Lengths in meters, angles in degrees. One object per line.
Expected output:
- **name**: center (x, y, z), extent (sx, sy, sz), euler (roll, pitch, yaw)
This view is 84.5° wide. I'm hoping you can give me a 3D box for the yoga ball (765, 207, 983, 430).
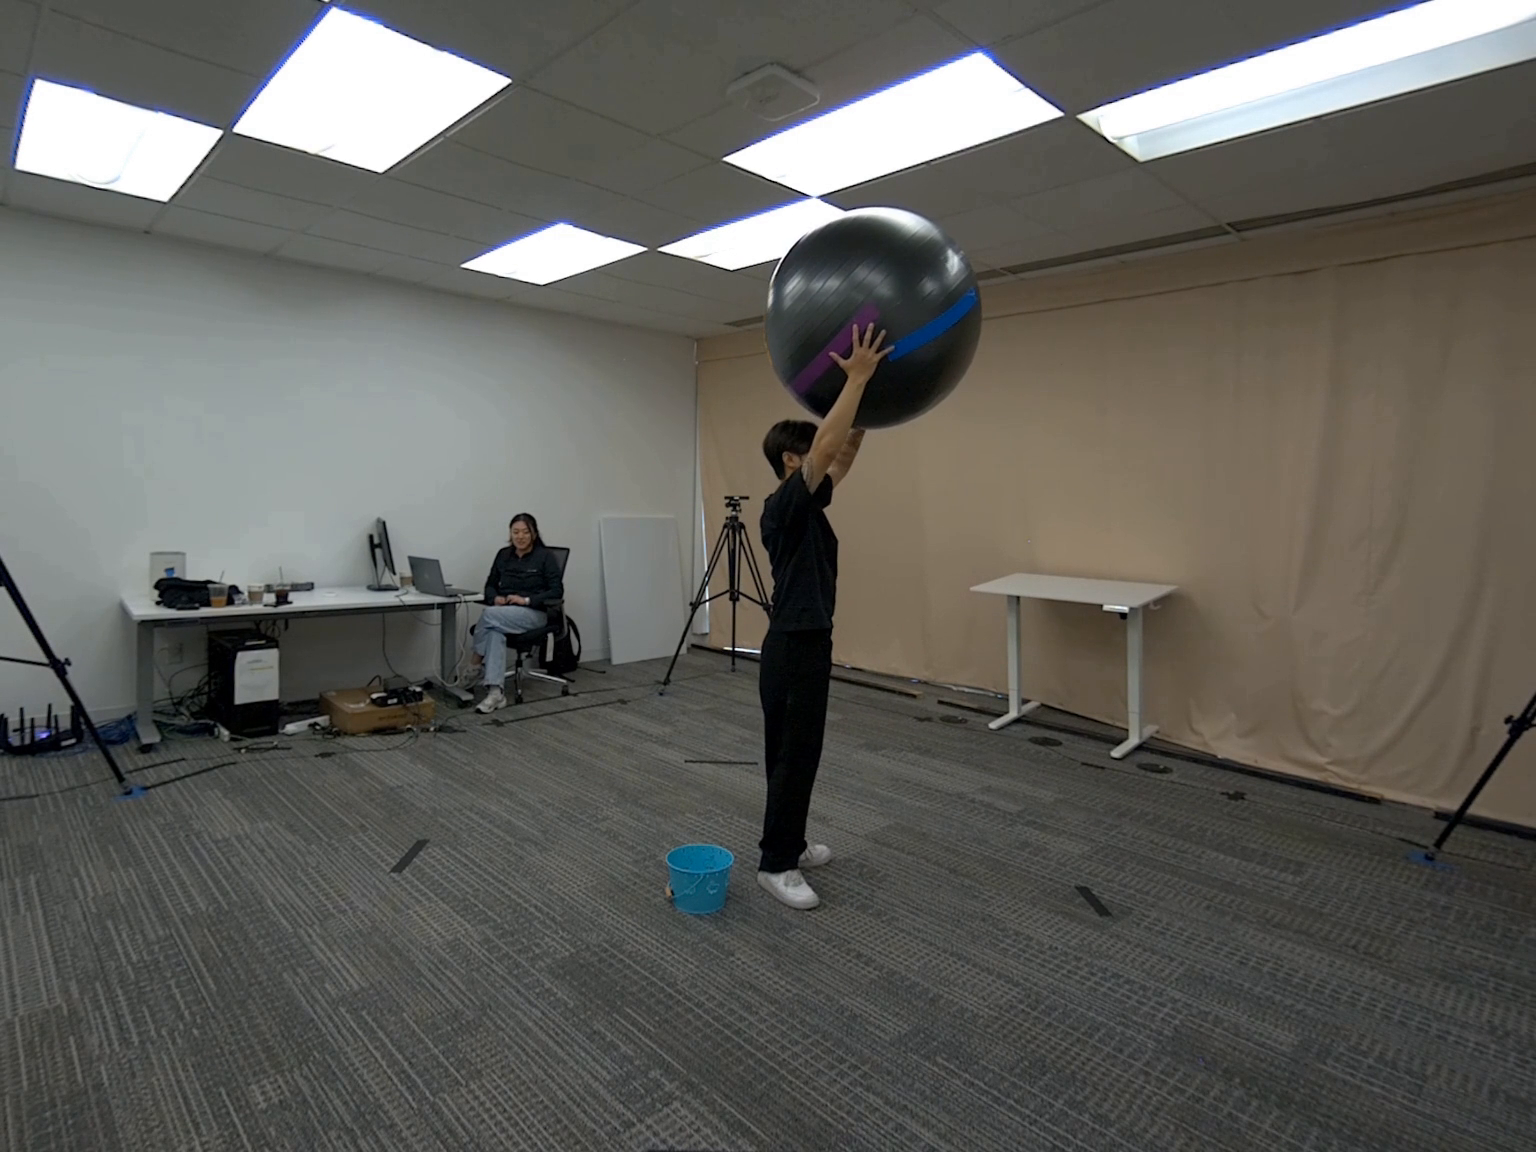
- **yoga ball**: center (0.364, -0.902, 2.992), extent (0.757, 0.756, 0.761), euler (1, 4, -1)
